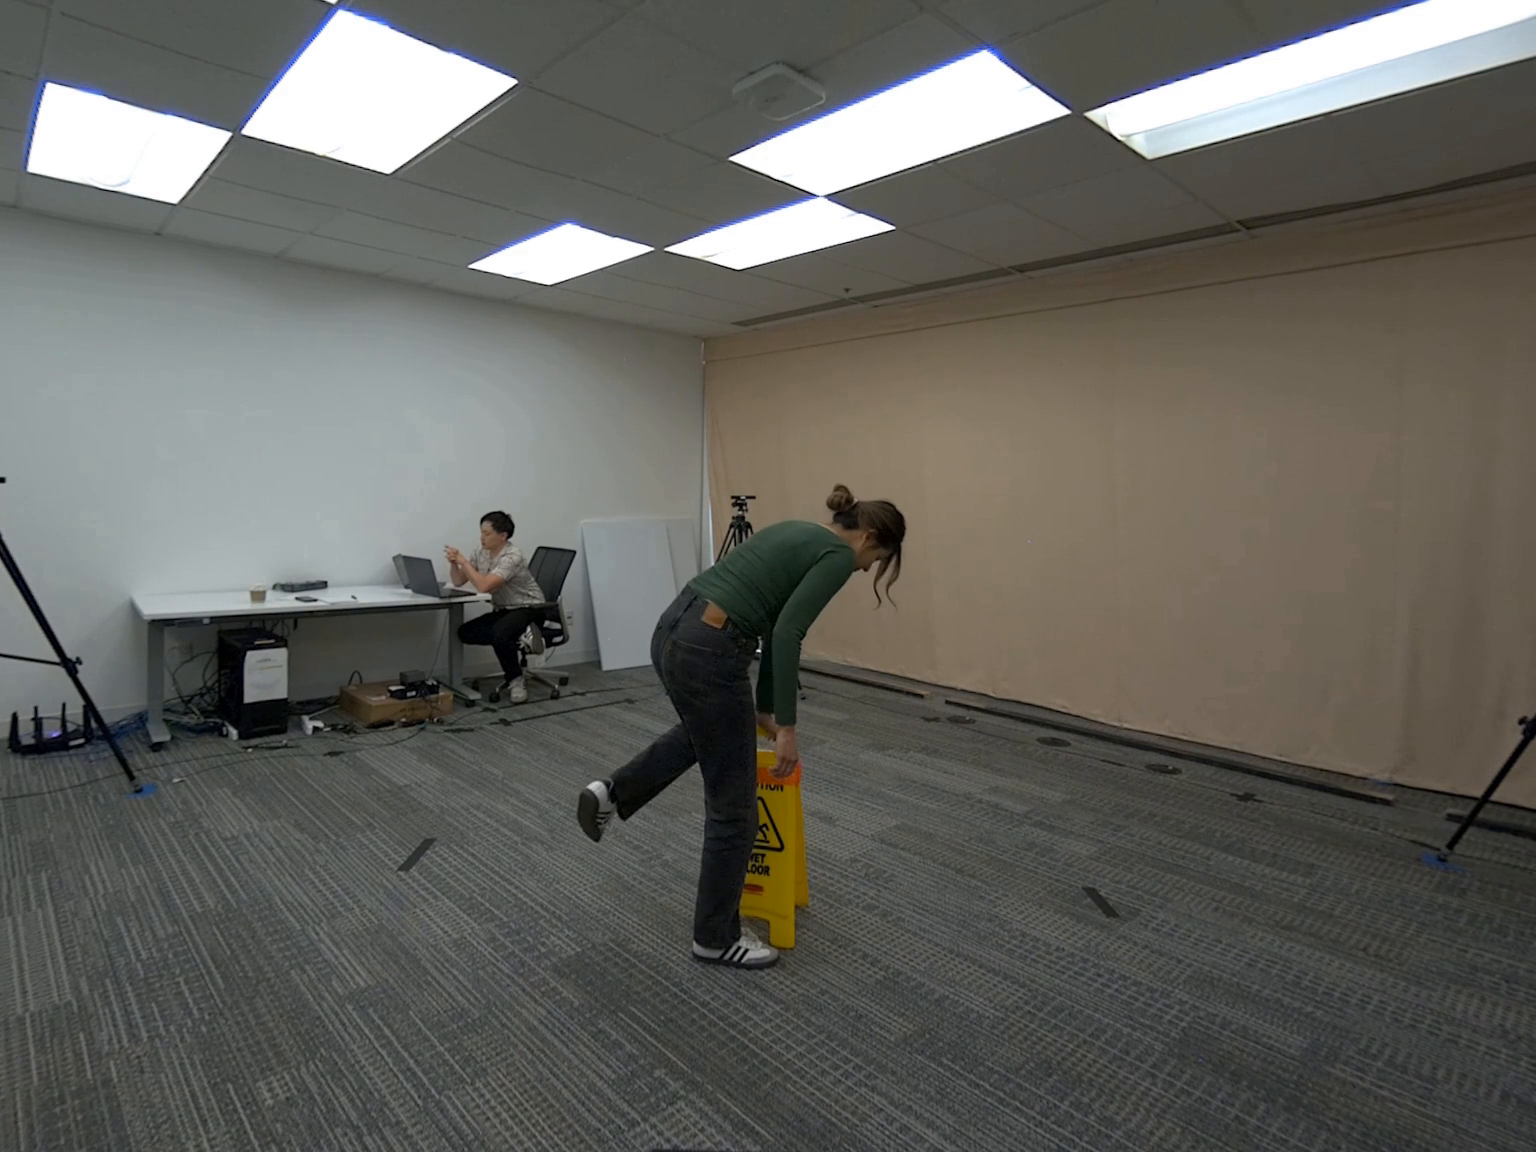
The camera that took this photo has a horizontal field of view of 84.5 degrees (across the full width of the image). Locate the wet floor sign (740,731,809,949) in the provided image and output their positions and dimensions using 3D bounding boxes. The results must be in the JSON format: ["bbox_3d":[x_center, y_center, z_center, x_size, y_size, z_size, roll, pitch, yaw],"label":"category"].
[{"bbox_3d":[-0.017,0.820,2.765,0.286,0.645,0.287,4,3,13],"label":"wet floor sign"}]
